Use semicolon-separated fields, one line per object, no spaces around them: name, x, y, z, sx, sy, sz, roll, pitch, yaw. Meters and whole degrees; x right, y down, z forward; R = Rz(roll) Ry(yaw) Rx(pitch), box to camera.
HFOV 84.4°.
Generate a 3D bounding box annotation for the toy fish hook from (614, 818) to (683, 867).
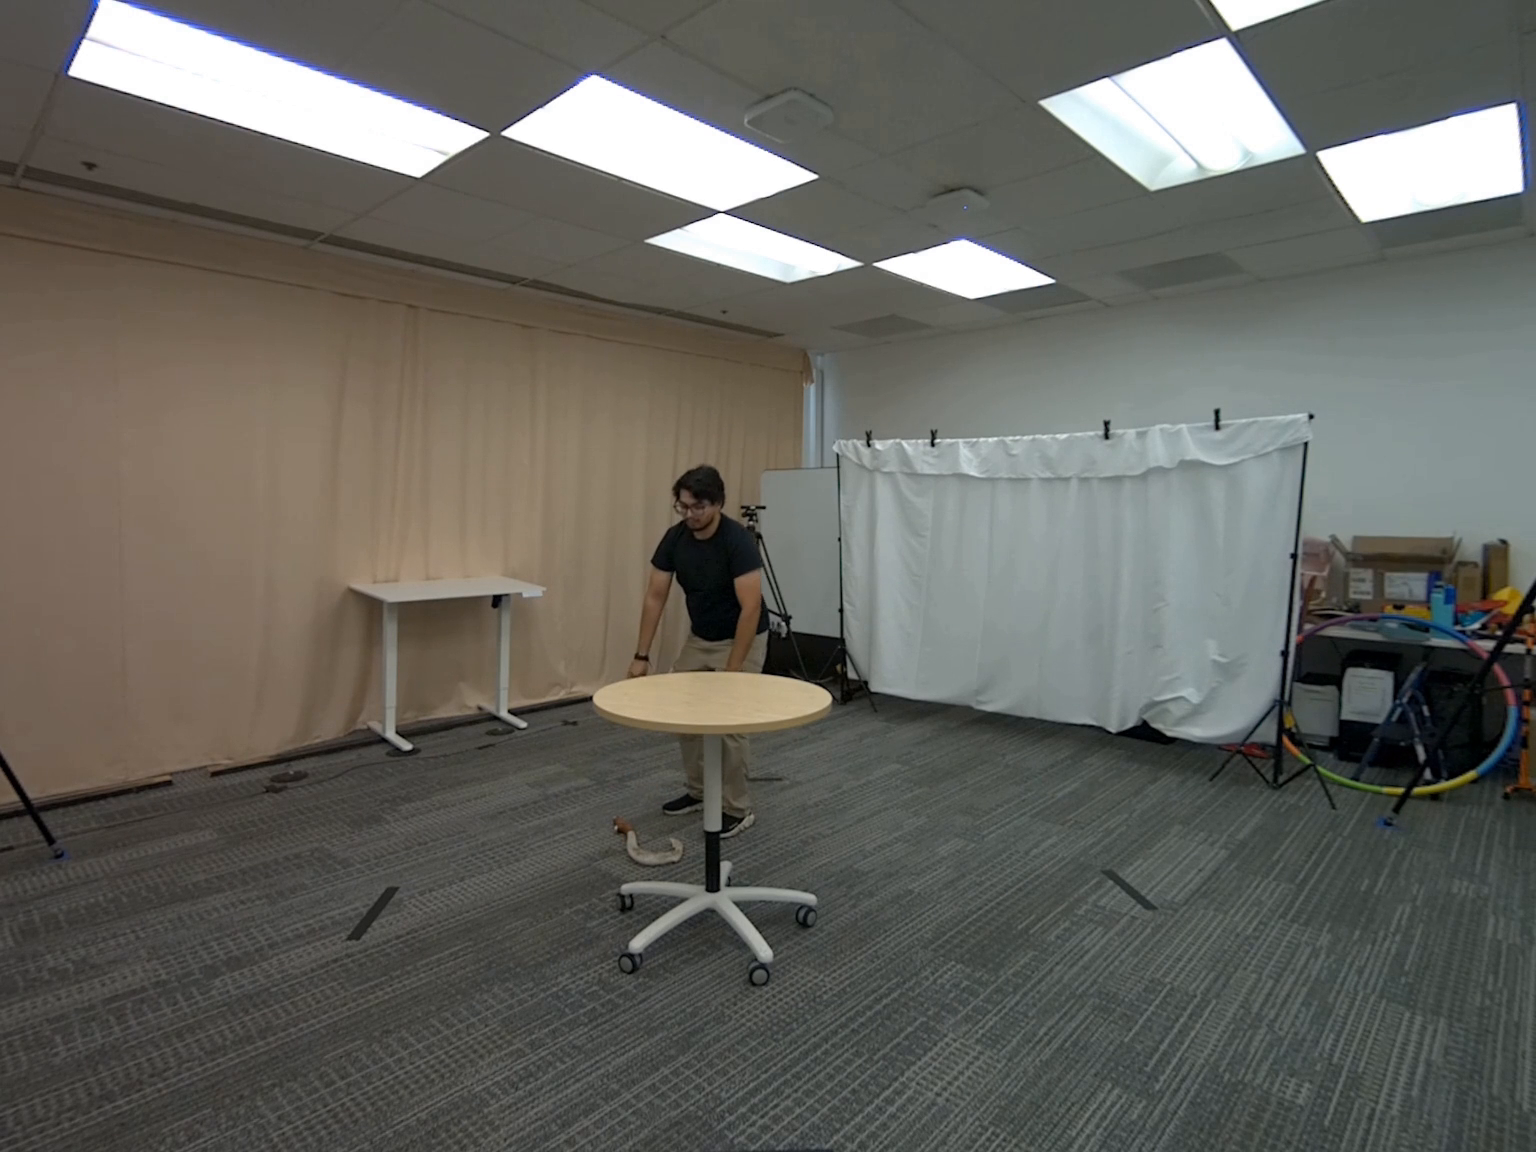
toy fish hook;-0.507;1.089;3.491;0.219;0.048;0.520;4;2;-26
